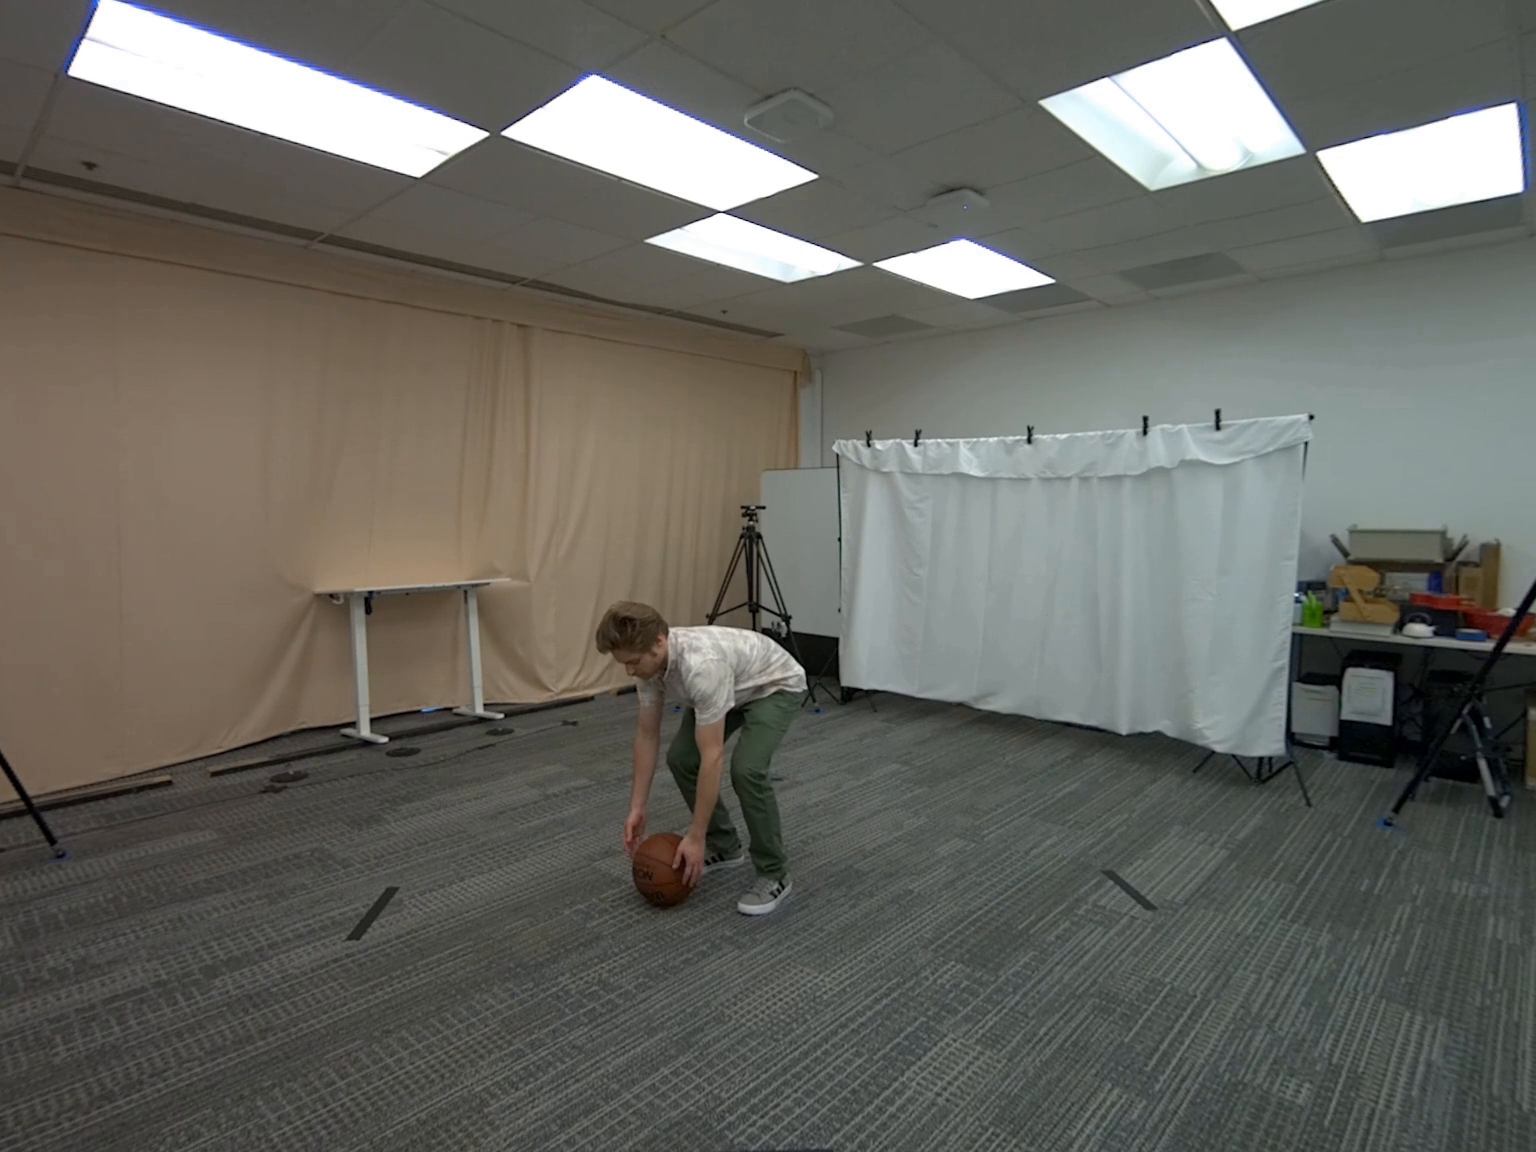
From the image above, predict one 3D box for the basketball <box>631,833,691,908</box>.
[{"bbox_3d":[-0.357,1.025,2.966,0.236,0.235,0.237,0,4,-2],"label":"basketball"}]
